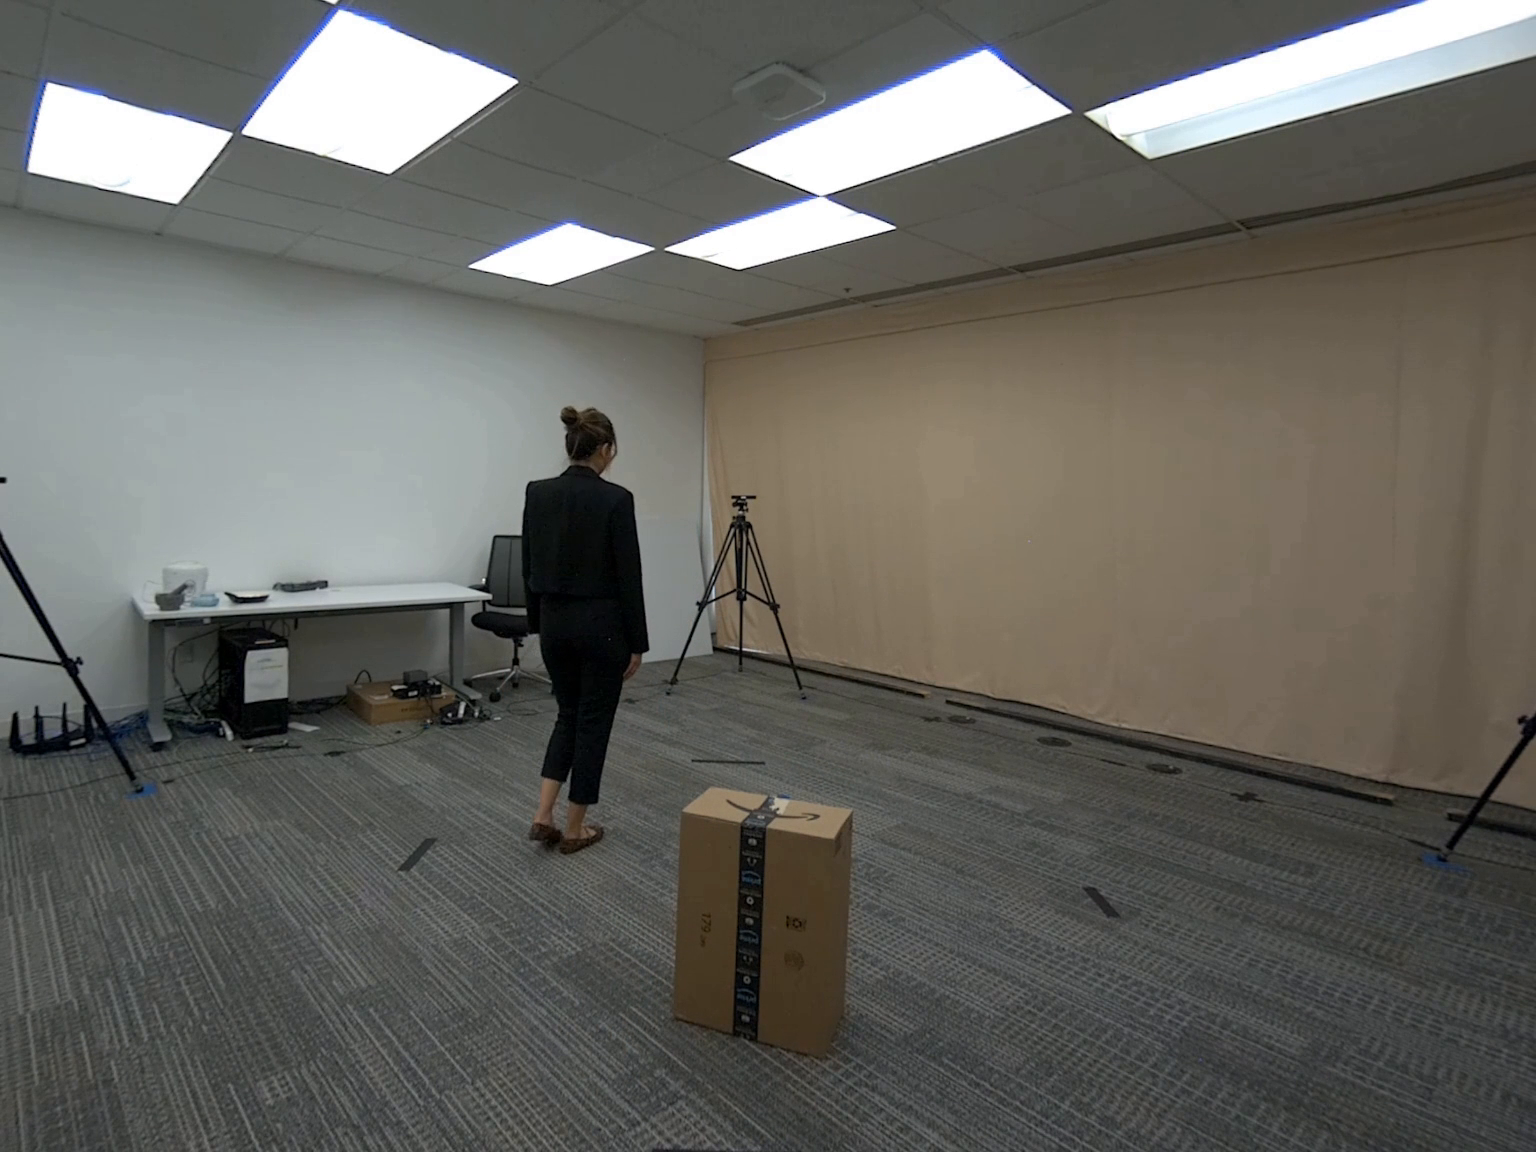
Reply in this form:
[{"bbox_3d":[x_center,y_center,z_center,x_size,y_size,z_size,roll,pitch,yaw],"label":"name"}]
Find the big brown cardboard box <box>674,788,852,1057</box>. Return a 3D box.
[{"bbox_3d":[-0.014,0.907,2.242,0.424,0.587,0.230,4,5,20],"label":"big brown cardboard box"}]
